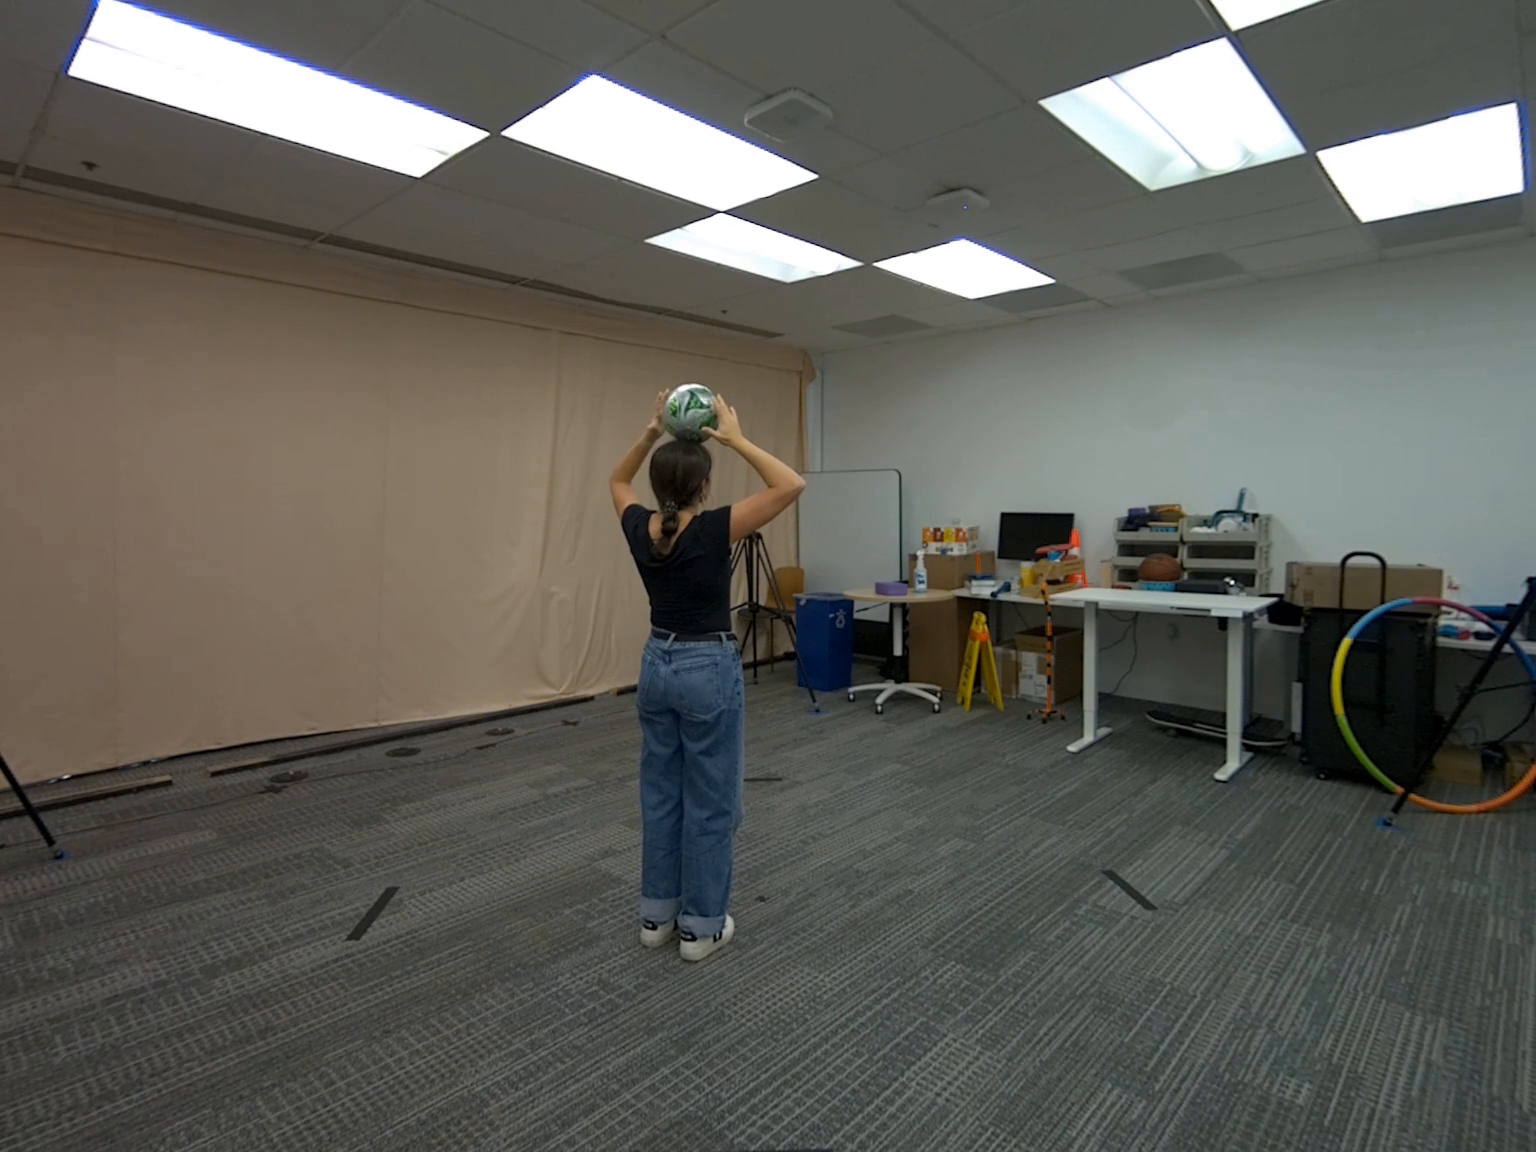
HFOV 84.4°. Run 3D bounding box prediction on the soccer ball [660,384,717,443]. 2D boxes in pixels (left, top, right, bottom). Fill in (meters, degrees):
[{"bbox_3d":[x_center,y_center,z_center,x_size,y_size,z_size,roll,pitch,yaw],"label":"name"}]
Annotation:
[{"bbox_3d":[-0.226,-0.504,2.642,0.187,0.187,0.188,0,4,-2],"label":"soccer ball"}]
